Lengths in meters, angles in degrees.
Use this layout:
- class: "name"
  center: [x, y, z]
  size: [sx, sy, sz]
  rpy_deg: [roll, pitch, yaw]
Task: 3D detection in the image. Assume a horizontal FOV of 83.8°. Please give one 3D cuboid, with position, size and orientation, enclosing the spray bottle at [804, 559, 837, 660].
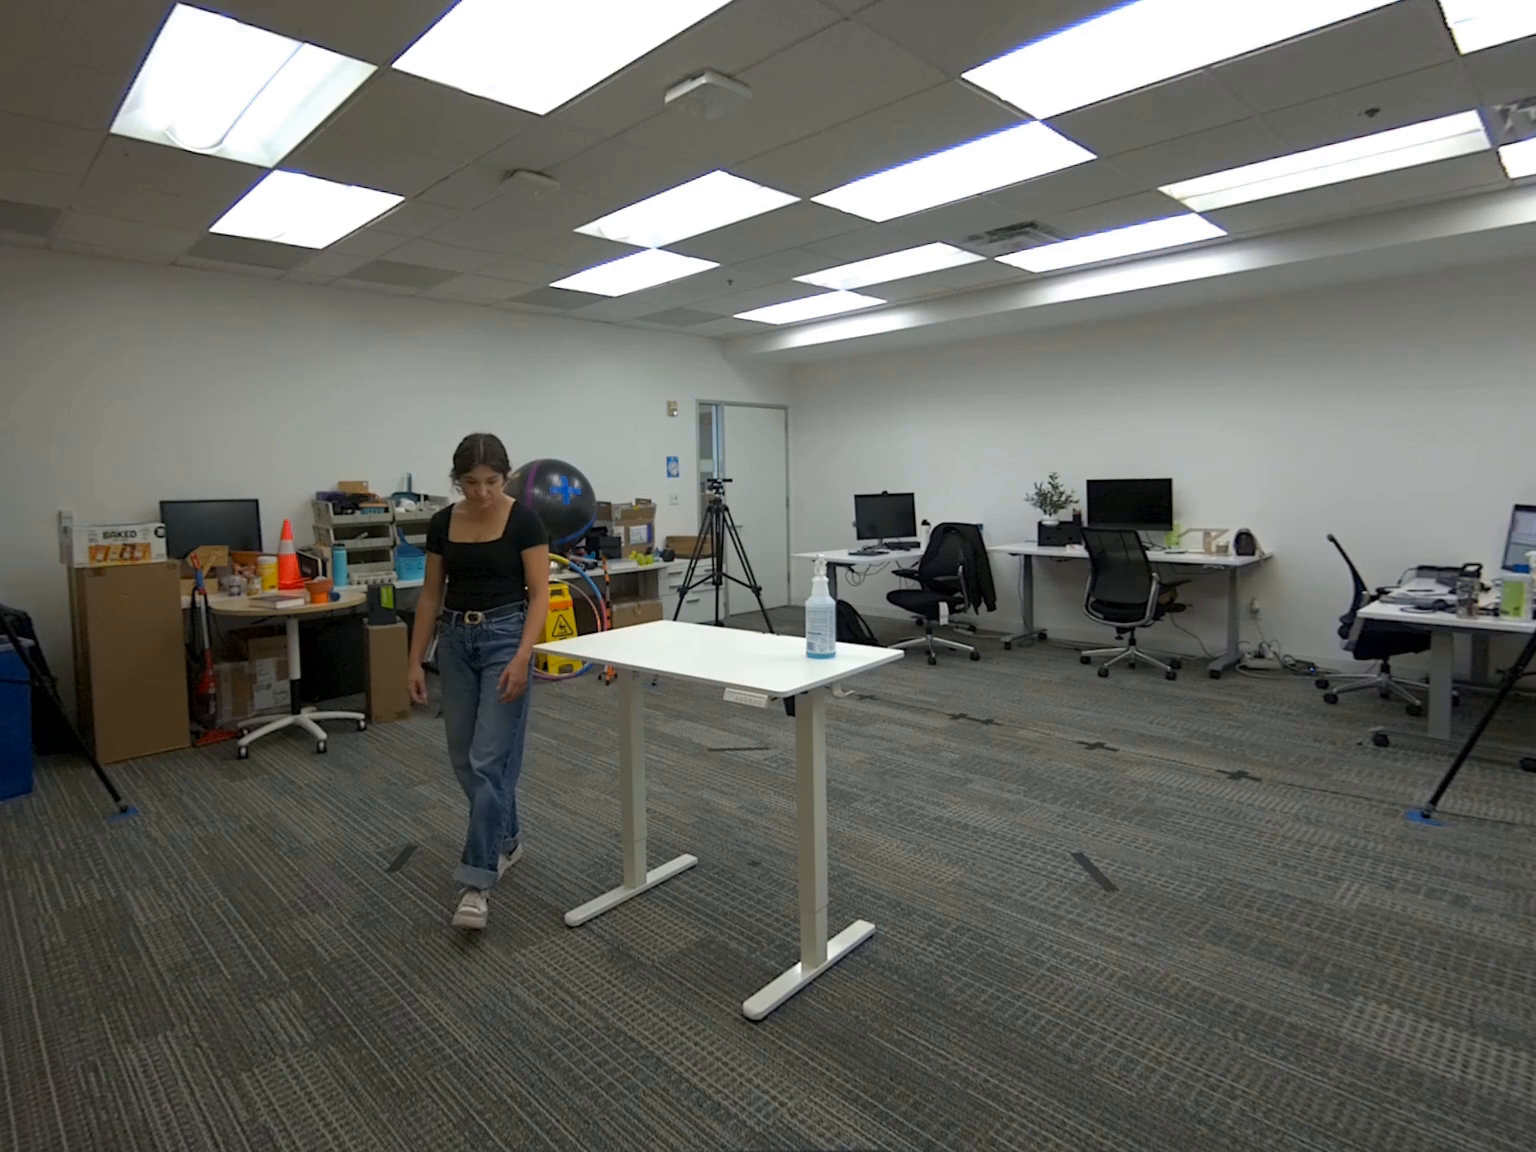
- class: "spray bottle"
  center: [0.158, 0.089, 2.453]
  size: [0.089, 0.296, 0.088]
  rpy_deg: [2, 6, 22]
